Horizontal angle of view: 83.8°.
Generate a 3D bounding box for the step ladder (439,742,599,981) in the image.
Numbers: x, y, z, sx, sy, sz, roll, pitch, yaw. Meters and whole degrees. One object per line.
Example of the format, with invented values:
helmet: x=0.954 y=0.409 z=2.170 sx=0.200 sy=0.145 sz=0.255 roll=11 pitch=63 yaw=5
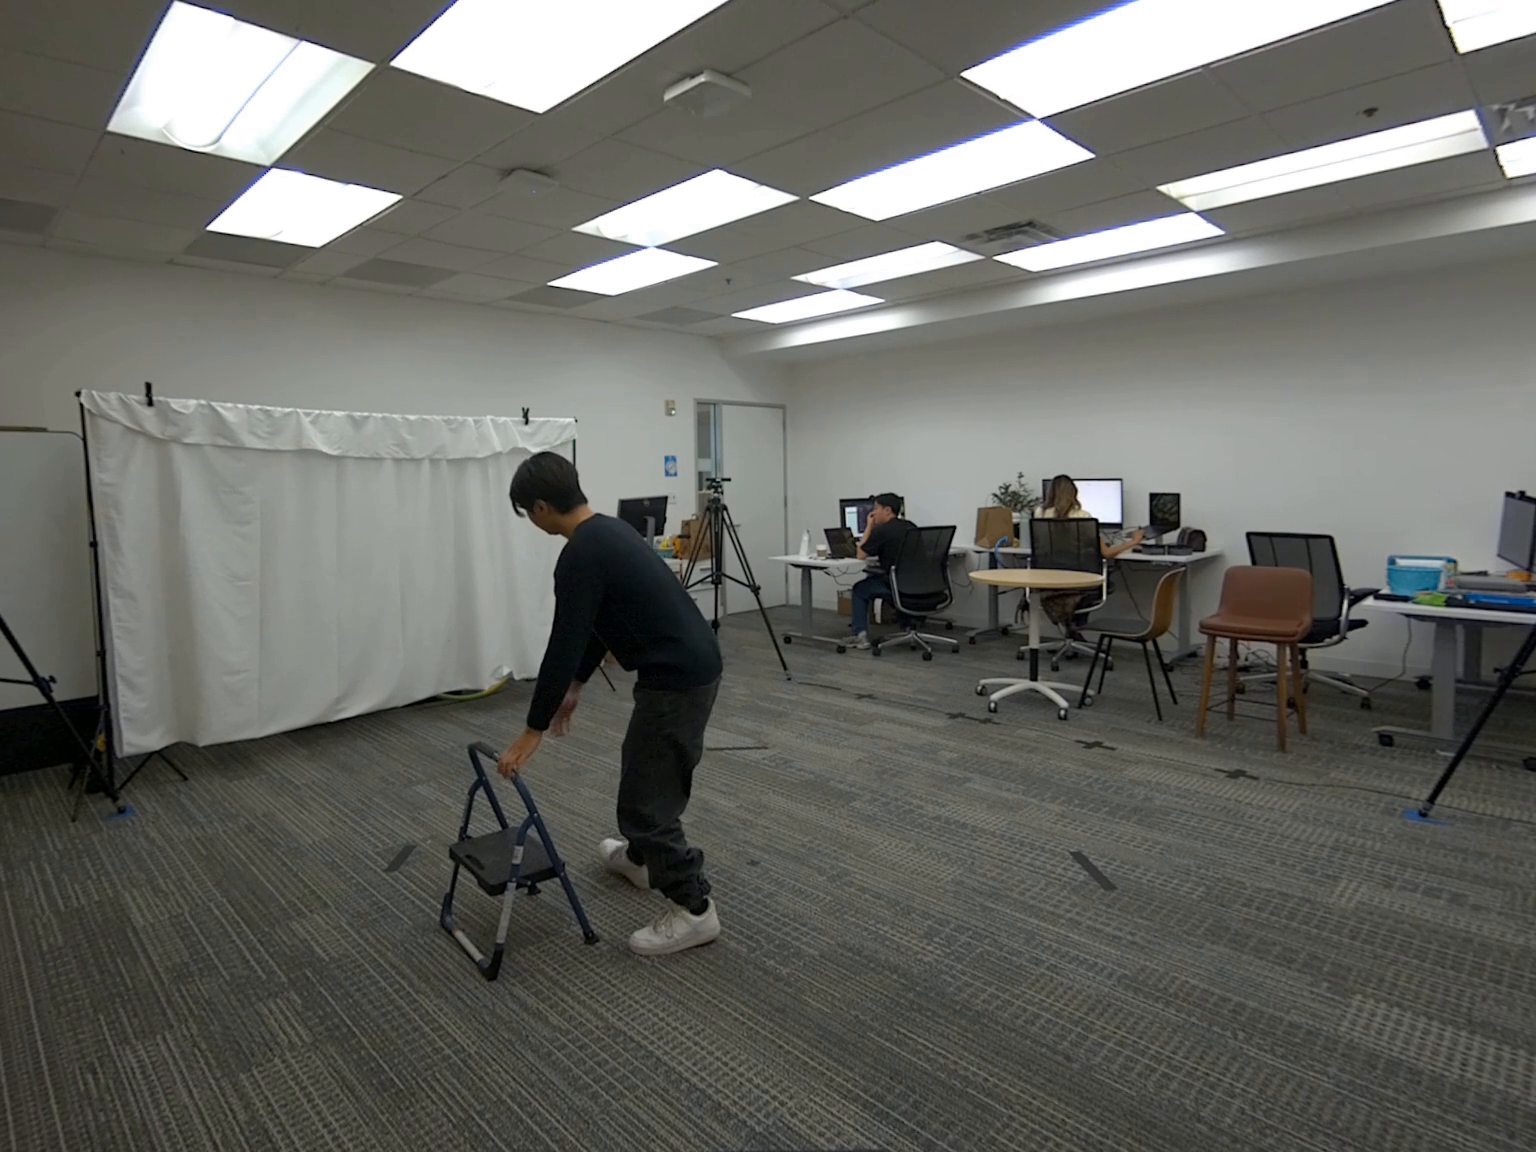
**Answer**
step ladder: x=-0.784 y=0.810 z=2.641 sx=0.340 sy=0.604 sz=0.443 roll=-5 pitch=5 yaw=-40
